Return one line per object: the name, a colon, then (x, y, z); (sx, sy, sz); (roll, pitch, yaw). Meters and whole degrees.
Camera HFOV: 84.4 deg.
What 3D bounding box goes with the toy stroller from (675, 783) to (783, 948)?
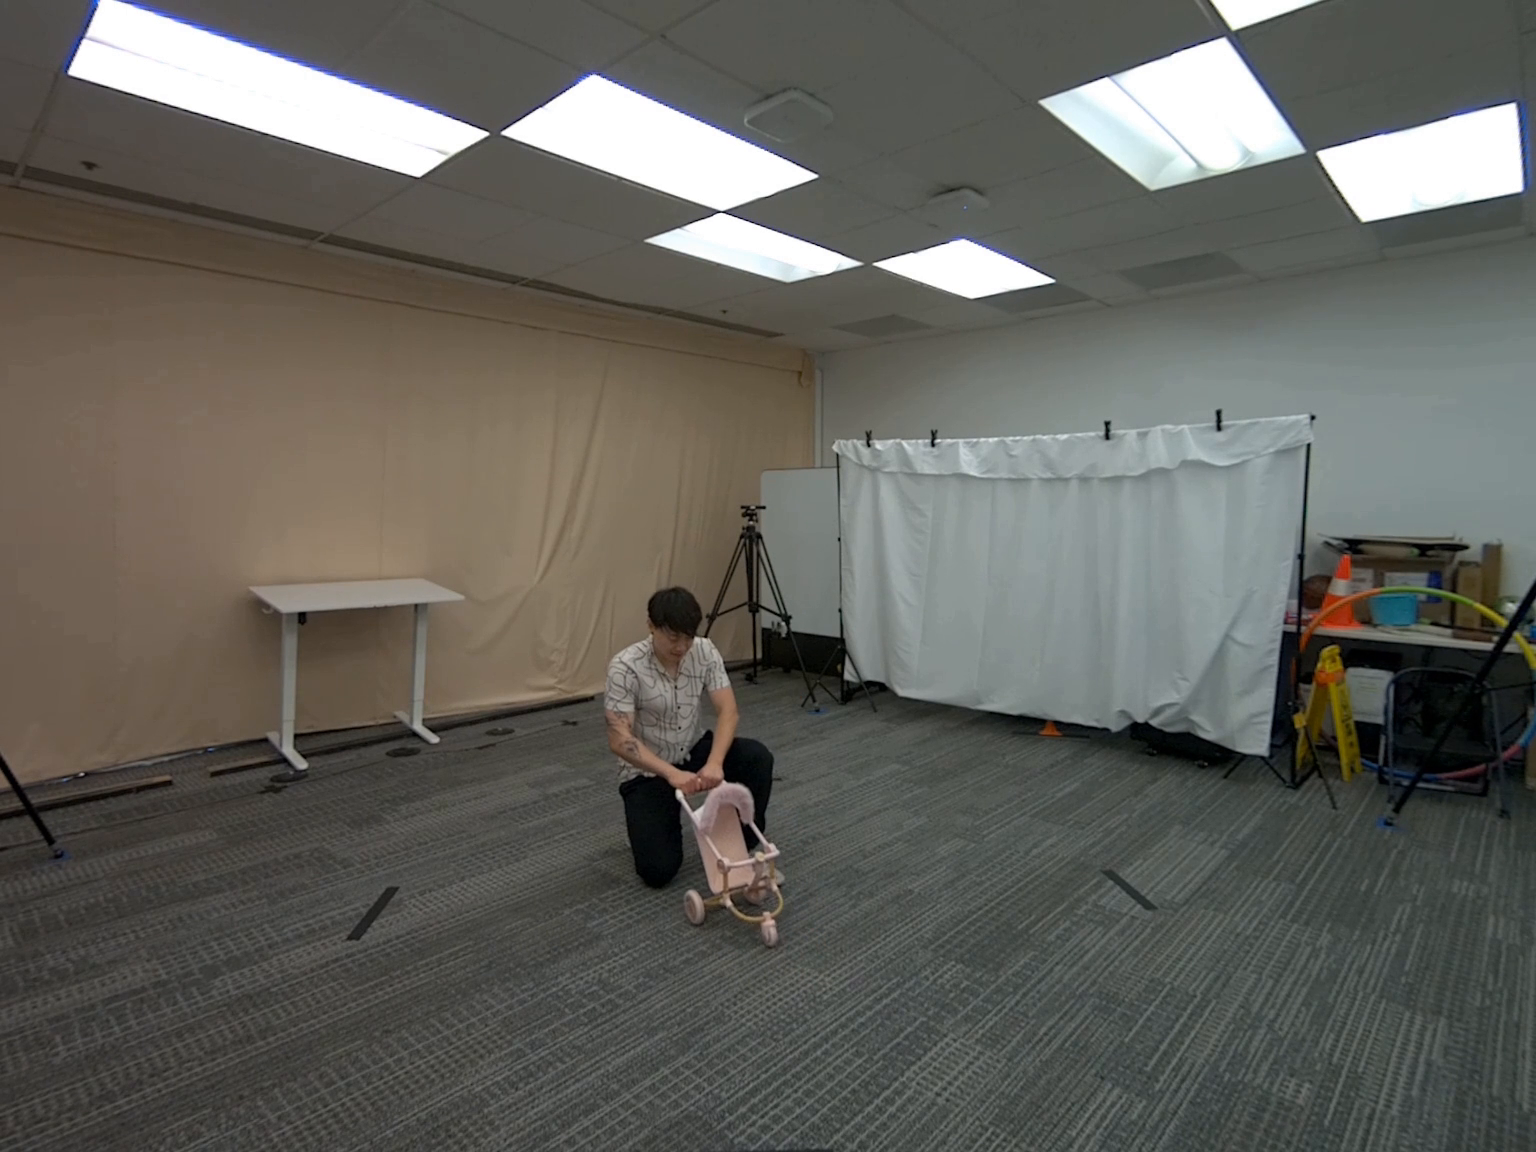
toy stroller: (-0.114, 0.930, 2.818); (0.274, 0.540, 0.347); (-3, -13, -31)
